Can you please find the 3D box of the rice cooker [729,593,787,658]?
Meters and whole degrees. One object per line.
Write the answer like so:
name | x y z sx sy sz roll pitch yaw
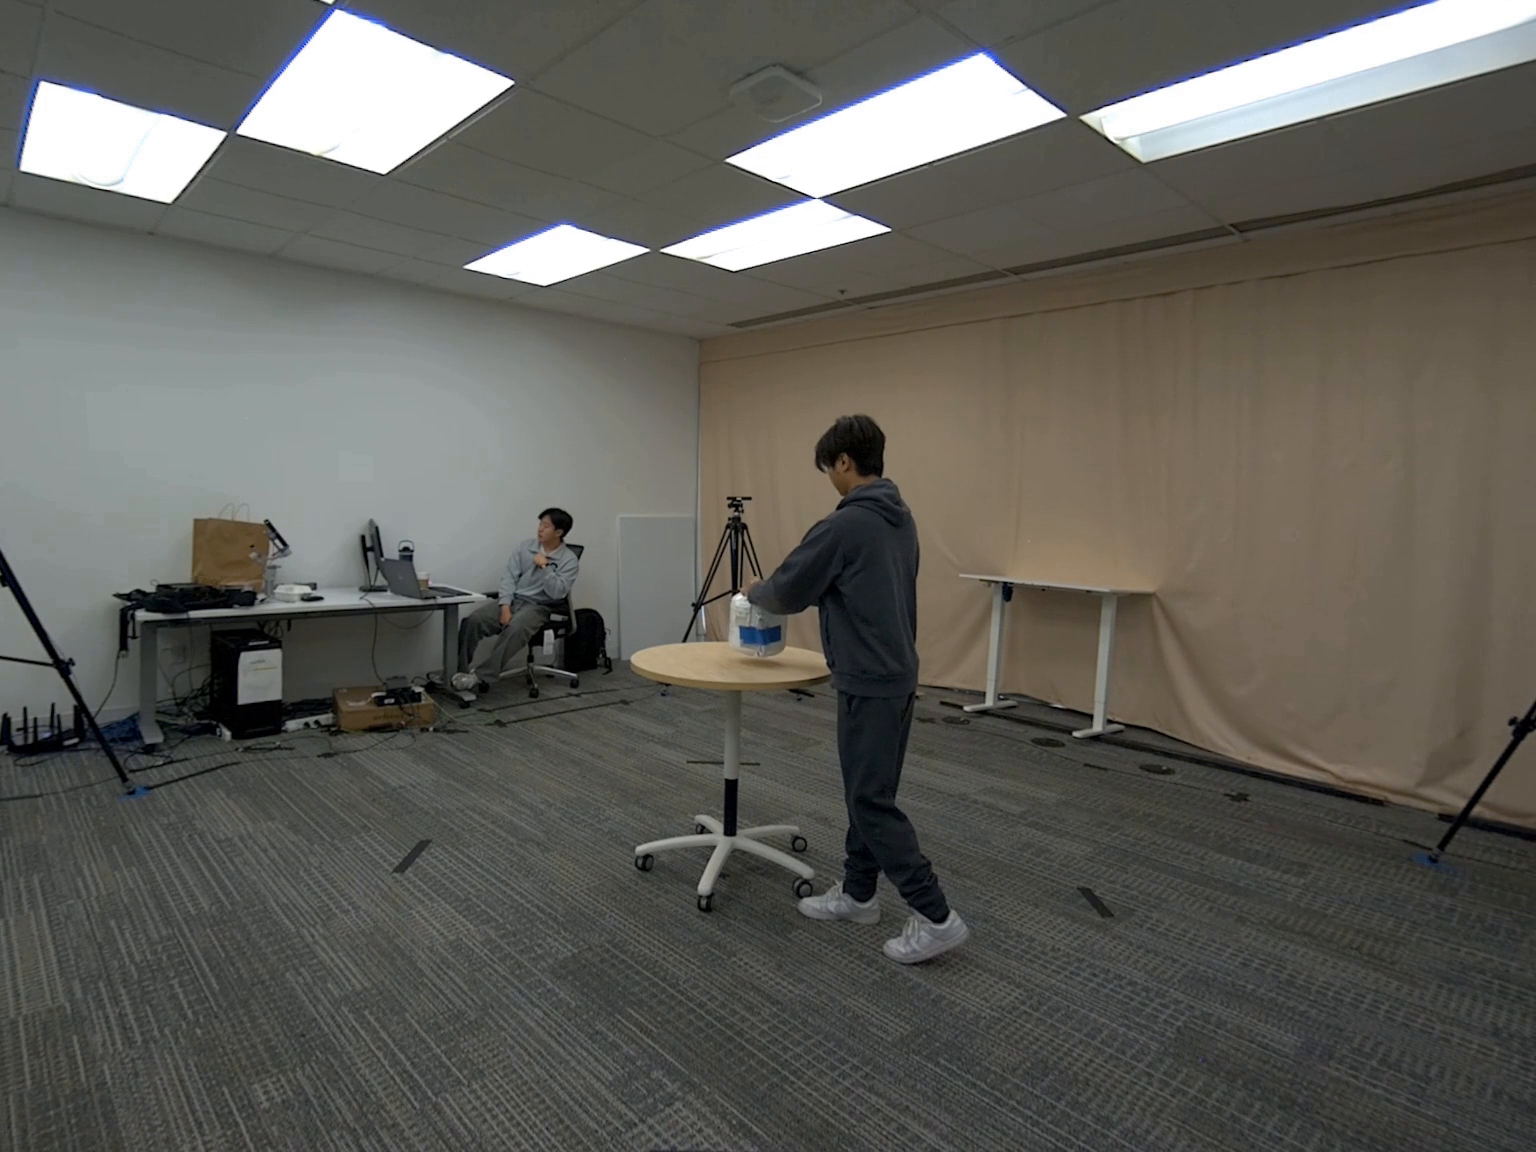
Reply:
rice cooker | -0.039 0.159 3.039 0.223 0.231 0.216 12 10 37
